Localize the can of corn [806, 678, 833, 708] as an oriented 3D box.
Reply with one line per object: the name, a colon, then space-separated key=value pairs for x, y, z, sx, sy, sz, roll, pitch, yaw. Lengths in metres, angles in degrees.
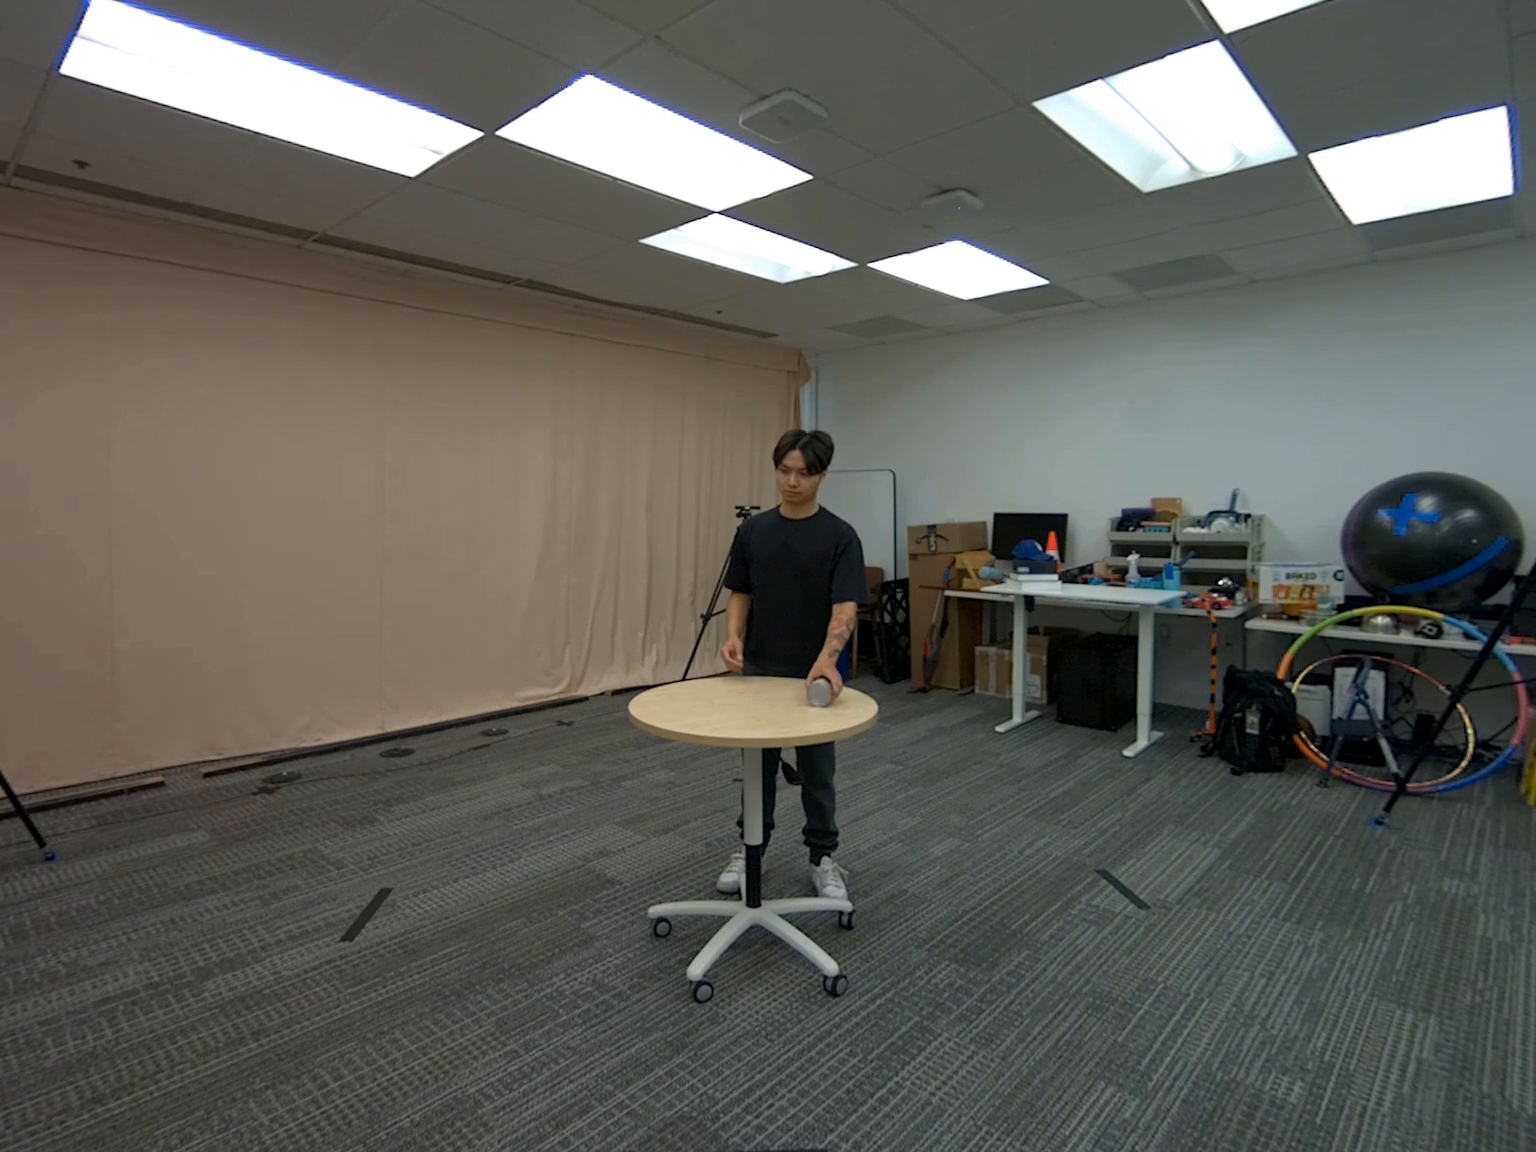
can of corn: x=0.165 y=0.353 z=2.600 sx=0.075 sy=0.074 sz=0.110 roll=0 pitch=5 yaw=8
